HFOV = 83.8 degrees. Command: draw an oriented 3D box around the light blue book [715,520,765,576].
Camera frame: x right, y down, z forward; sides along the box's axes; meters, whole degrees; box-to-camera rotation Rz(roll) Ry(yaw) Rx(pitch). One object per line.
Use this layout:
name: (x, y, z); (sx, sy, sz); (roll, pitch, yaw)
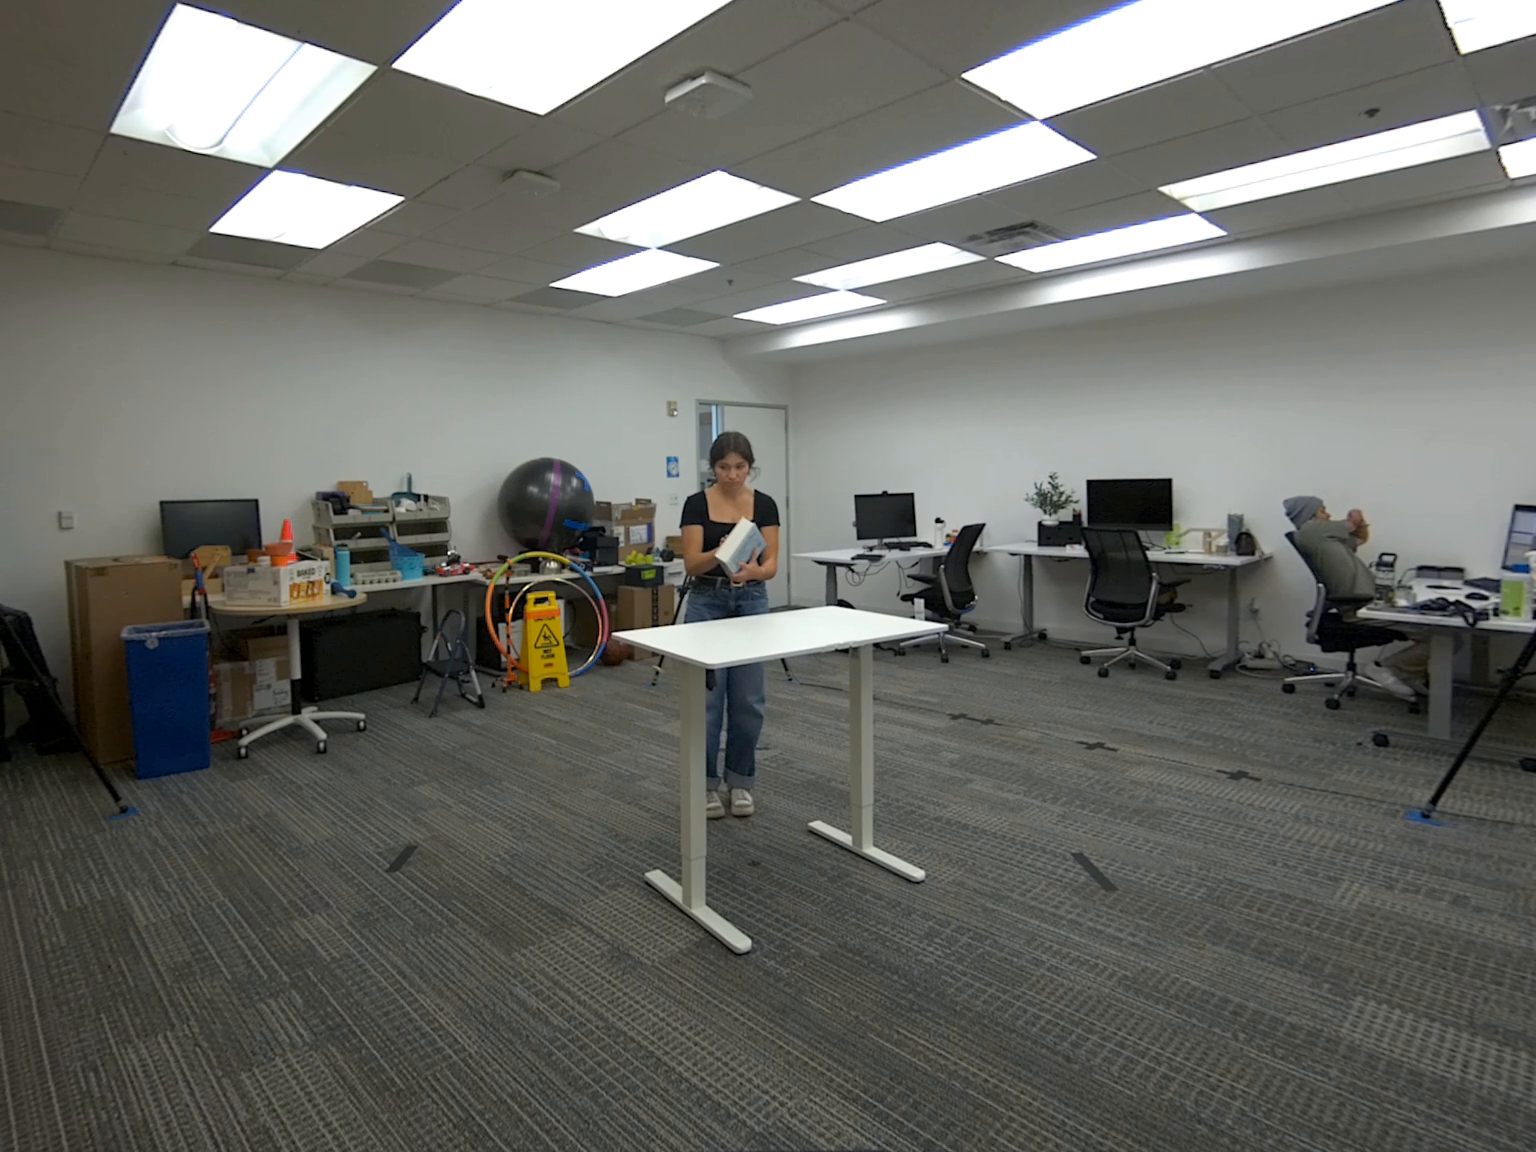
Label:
light blue book: (-0.106, -0.096, 3.296); (0.060, 0.192, 0.254); (29, -11, 15)
